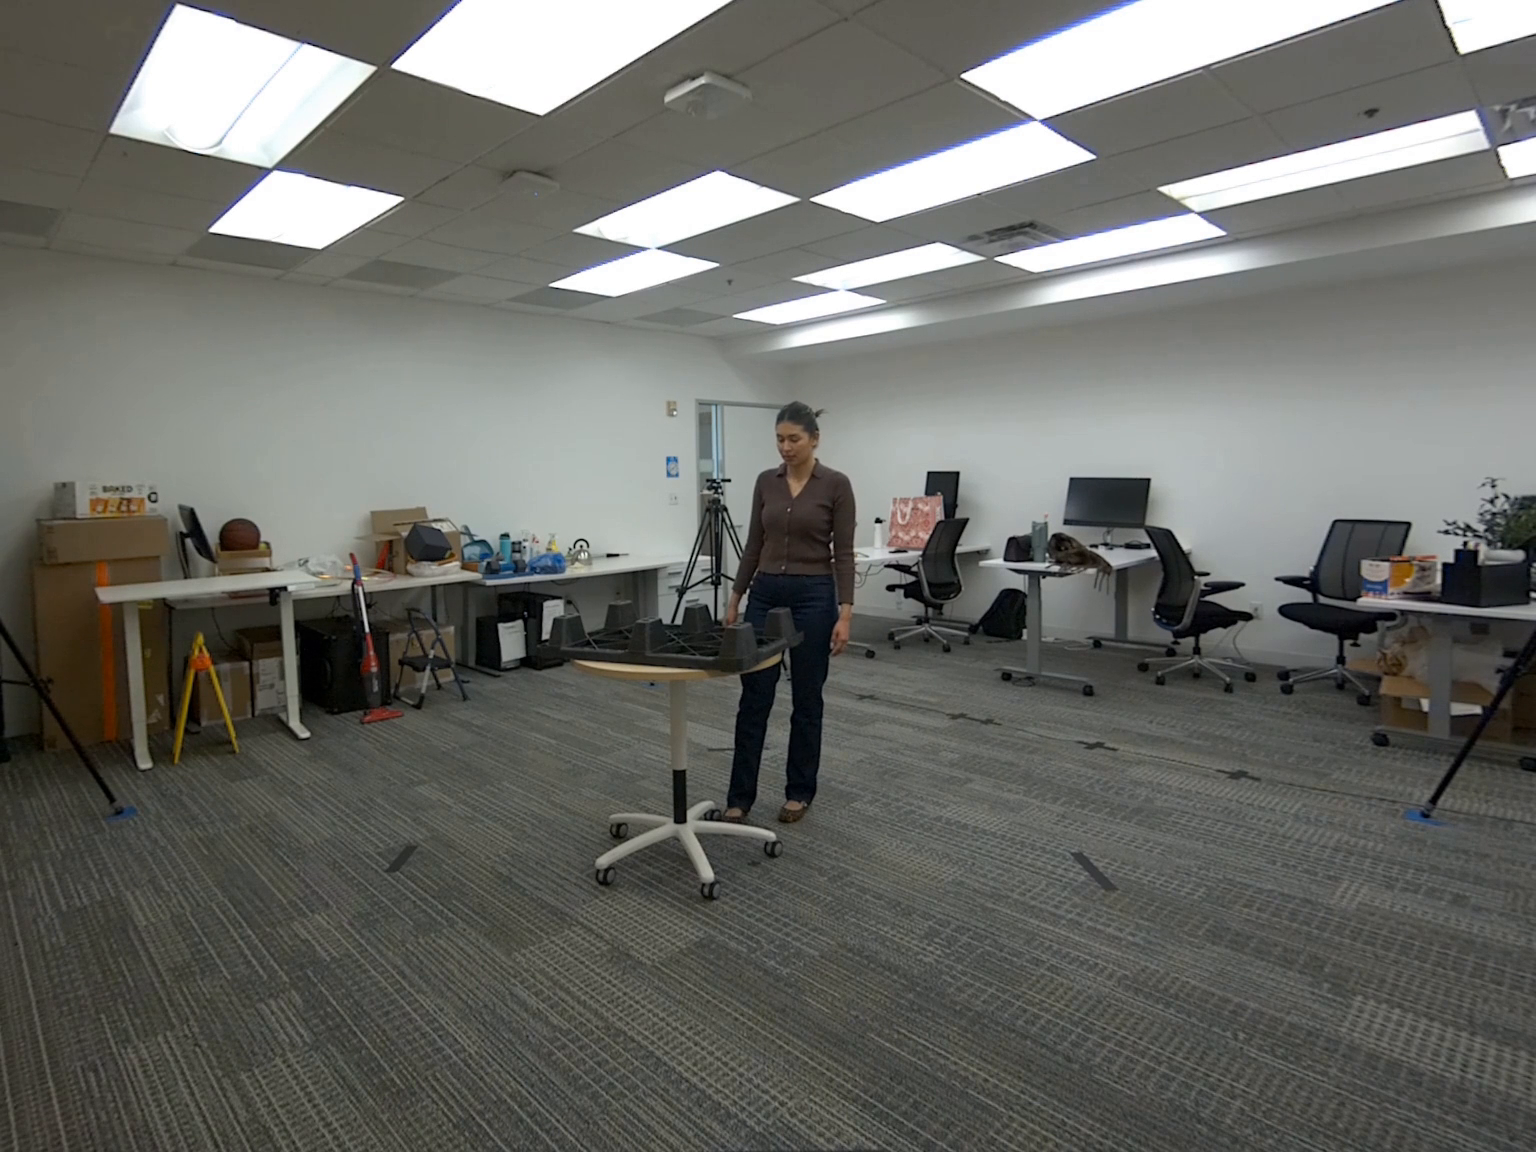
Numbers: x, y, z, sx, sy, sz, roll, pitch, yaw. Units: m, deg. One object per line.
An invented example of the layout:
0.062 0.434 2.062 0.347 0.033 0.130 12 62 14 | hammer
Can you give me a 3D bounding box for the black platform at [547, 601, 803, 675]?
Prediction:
-0.337 0.201 3.121 0.823 0.143 0.595 2 7 23 | black platform
